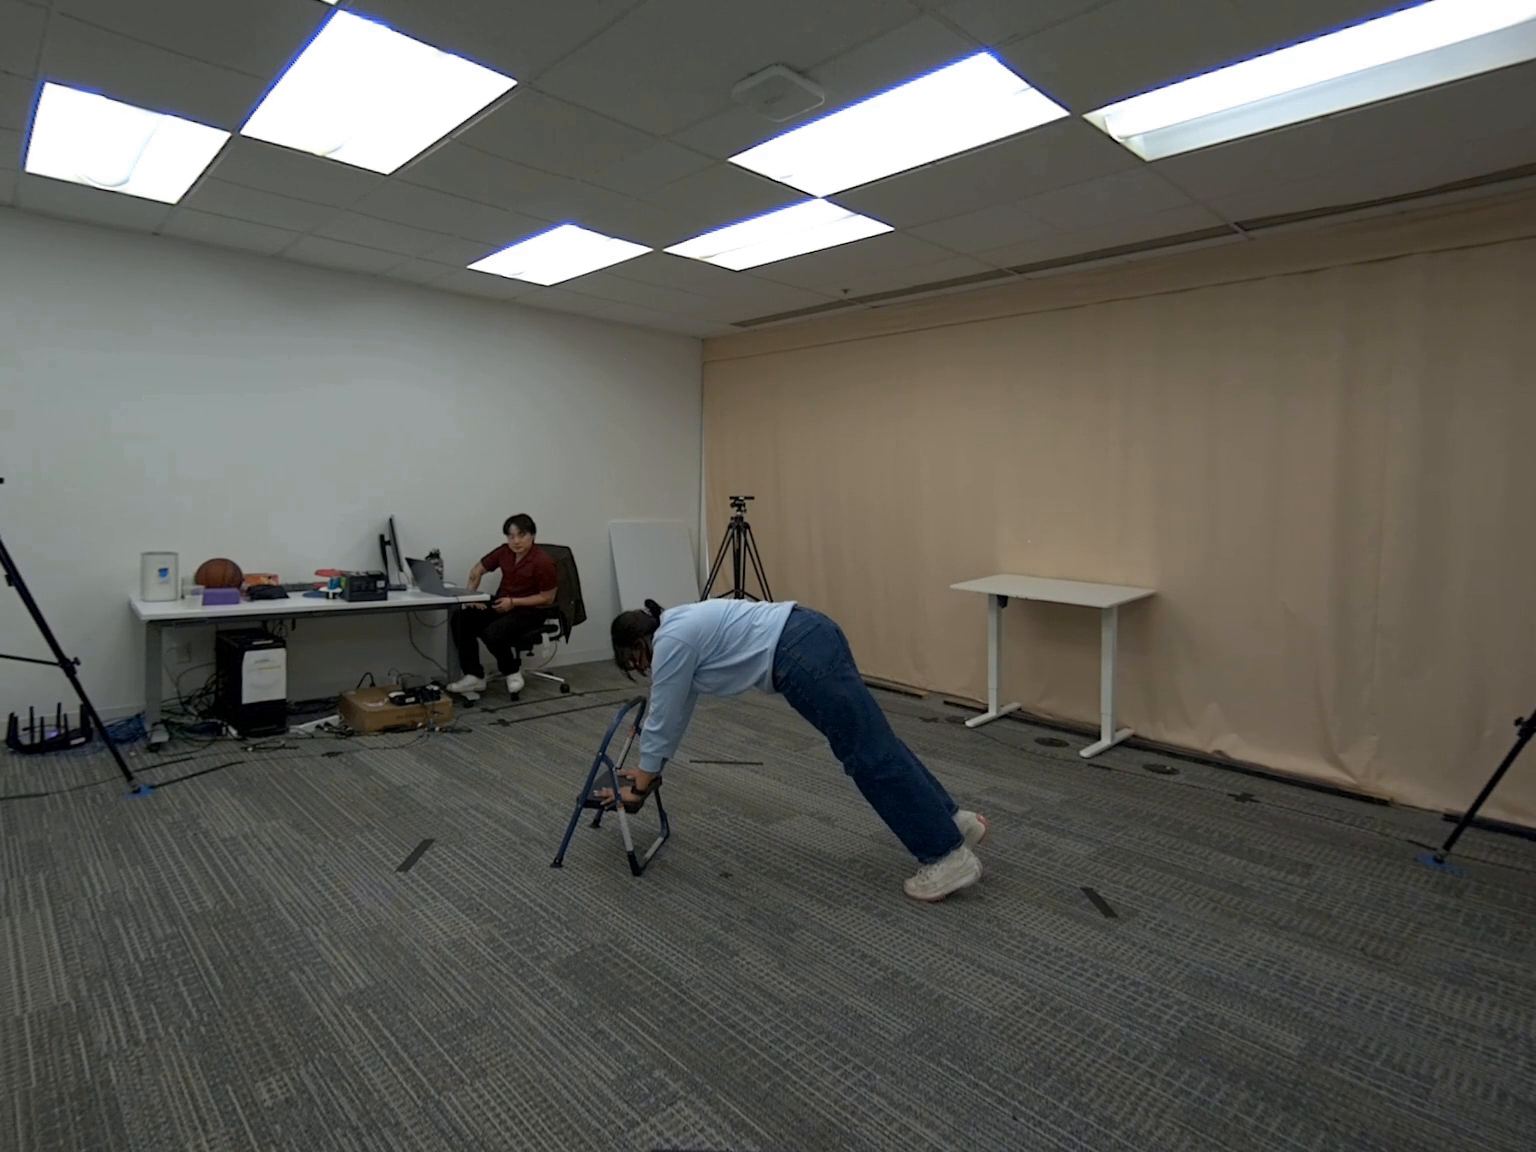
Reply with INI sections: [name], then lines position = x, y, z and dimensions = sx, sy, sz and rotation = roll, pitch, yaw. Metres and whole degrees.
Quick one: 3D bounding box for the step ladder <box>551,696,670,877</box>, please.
[step ladder]
position = -0.600, 0.771, 3.290
dimensions = 0.352, 0.604, 0.428
rotation = 2, 4, 10
